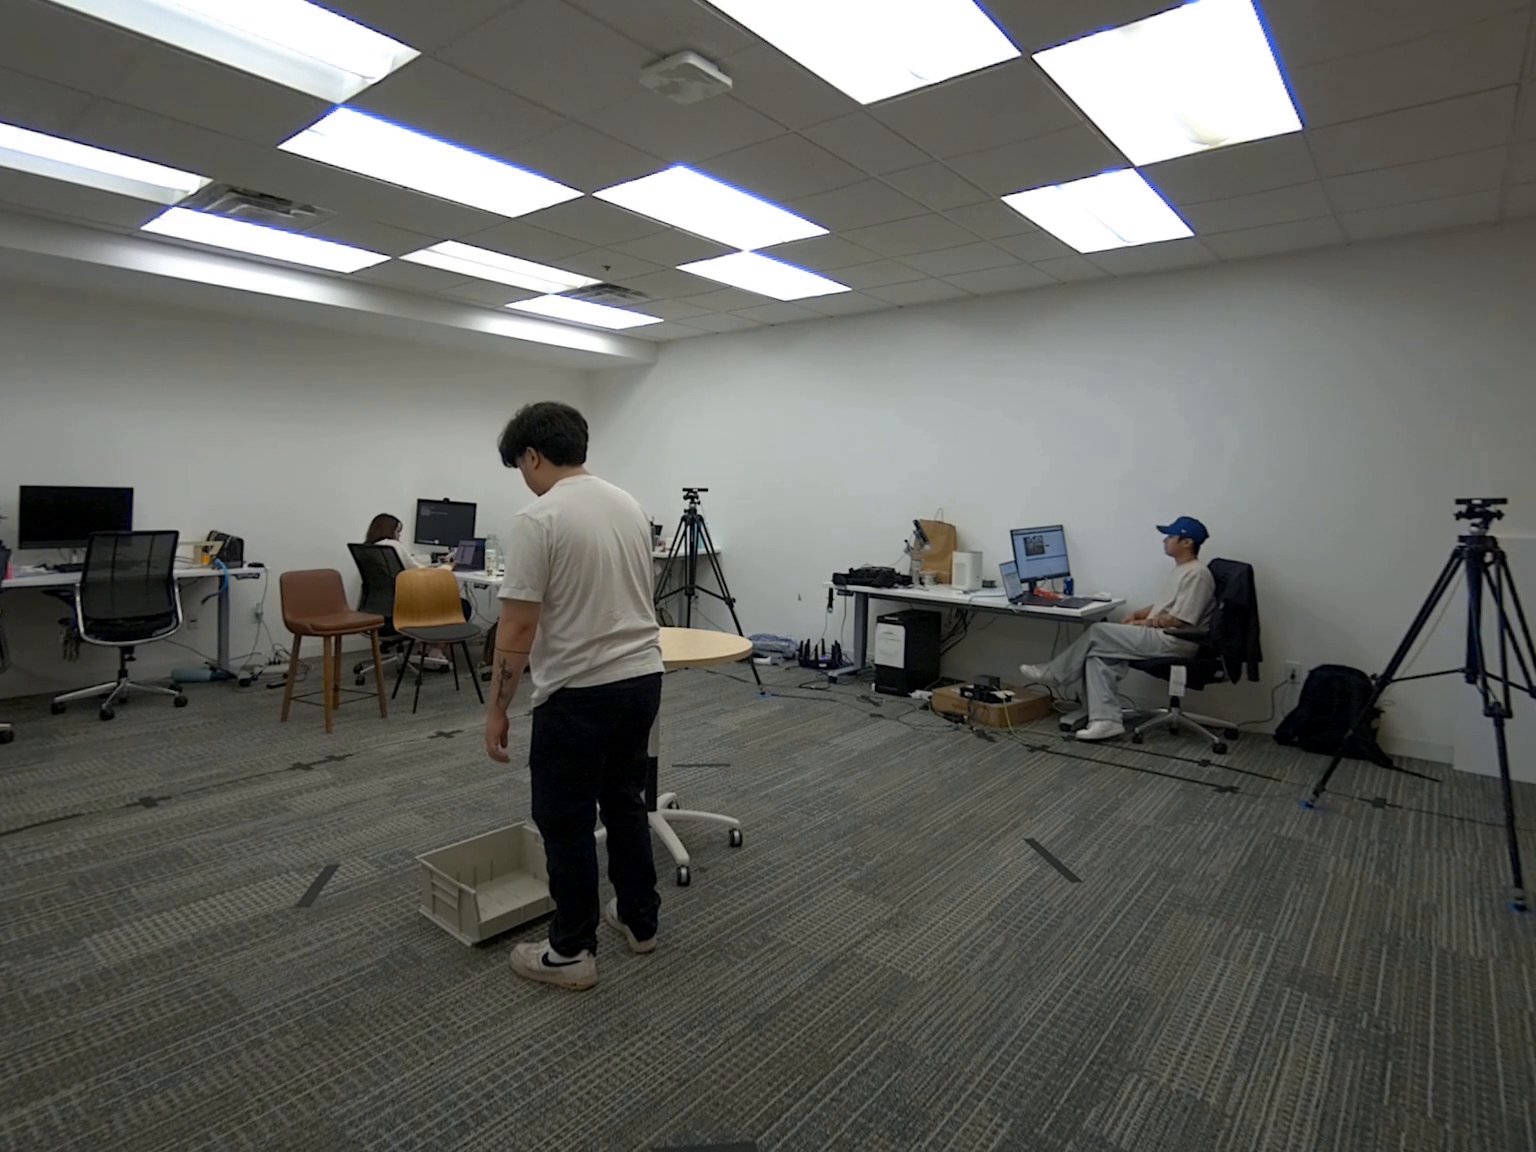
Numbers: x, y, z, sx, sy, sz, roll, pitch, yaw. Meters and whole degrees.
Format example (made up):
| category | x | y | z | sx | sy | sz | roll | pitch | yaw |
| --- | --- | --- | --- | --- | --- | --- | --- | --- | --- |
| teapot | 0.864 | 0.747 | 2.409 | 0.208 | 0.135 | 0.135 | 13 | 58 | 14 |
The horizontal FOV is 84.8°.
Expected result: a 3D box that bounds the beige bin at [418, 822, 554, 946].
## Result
| category | x | y | z | sx | sy | sz | roll | pitch | yaw |
| --- | --- | --- | --- | --- | --- | --- | --- | --- | --- |
| beige bin | -0.881 | 1.001 | 2.791 | 0.390 | 0.188 | 0.410 | 4 | 6 | 41 |
